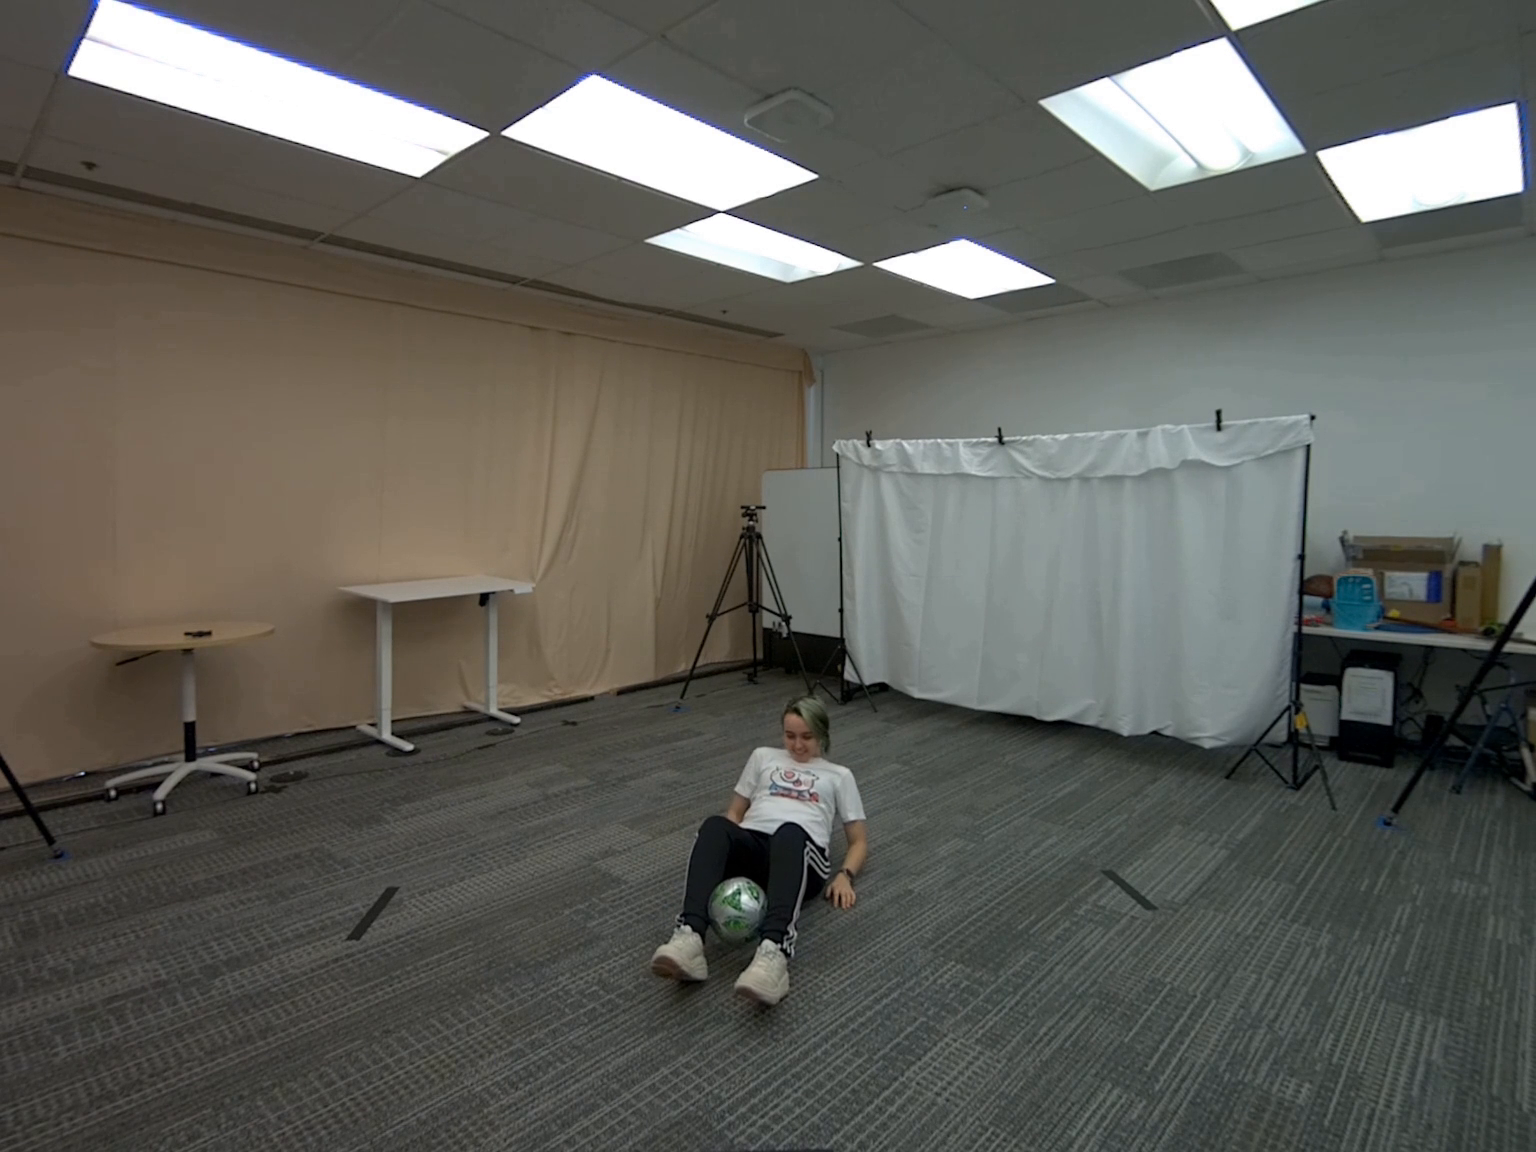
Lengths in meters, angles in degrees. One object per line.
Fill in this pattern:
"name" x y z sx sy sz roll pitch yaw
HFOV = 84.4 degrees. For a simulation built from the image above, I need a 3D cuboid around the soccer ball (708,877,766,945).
"soccer ball" -0.081 1.009 2.543 0.187 0.187 0.188 0 4 -2
